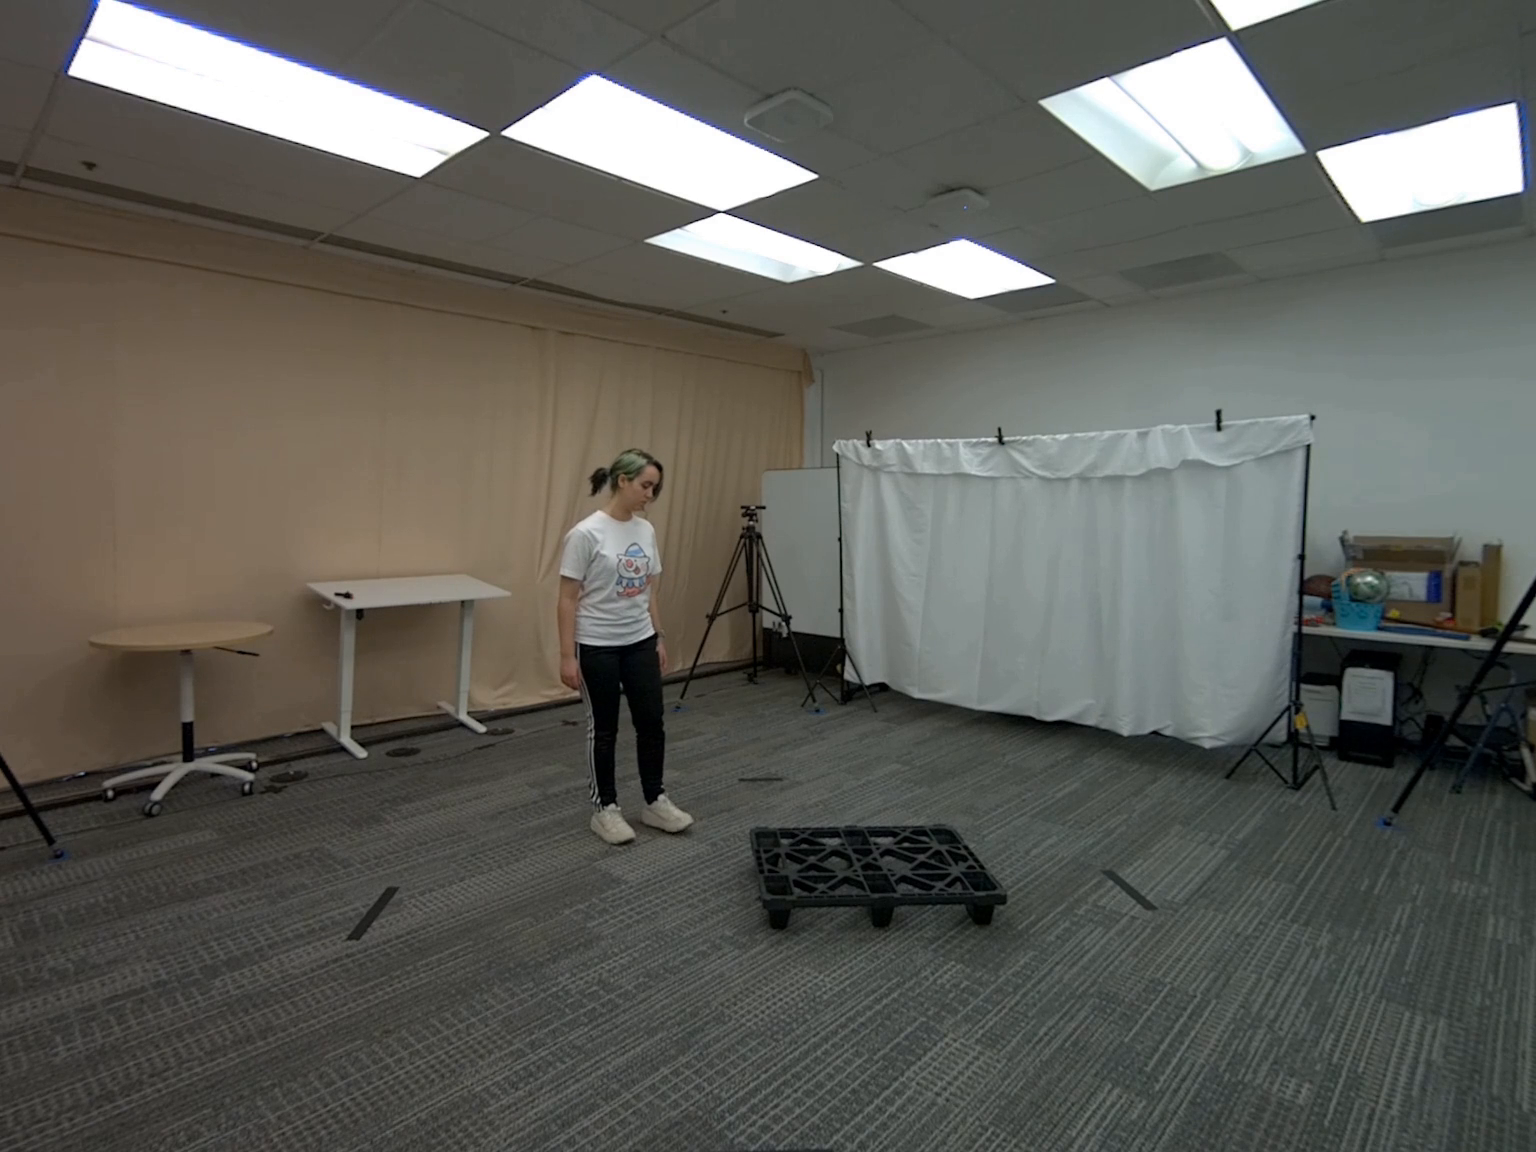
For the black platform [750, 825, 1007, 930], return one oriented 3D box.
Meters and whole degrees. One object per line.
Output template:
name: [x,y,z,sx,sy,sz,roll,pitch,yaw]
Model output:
black platform: [0.352,1.070,3.010,0.804,0.143,0.608,0,4,-3]
